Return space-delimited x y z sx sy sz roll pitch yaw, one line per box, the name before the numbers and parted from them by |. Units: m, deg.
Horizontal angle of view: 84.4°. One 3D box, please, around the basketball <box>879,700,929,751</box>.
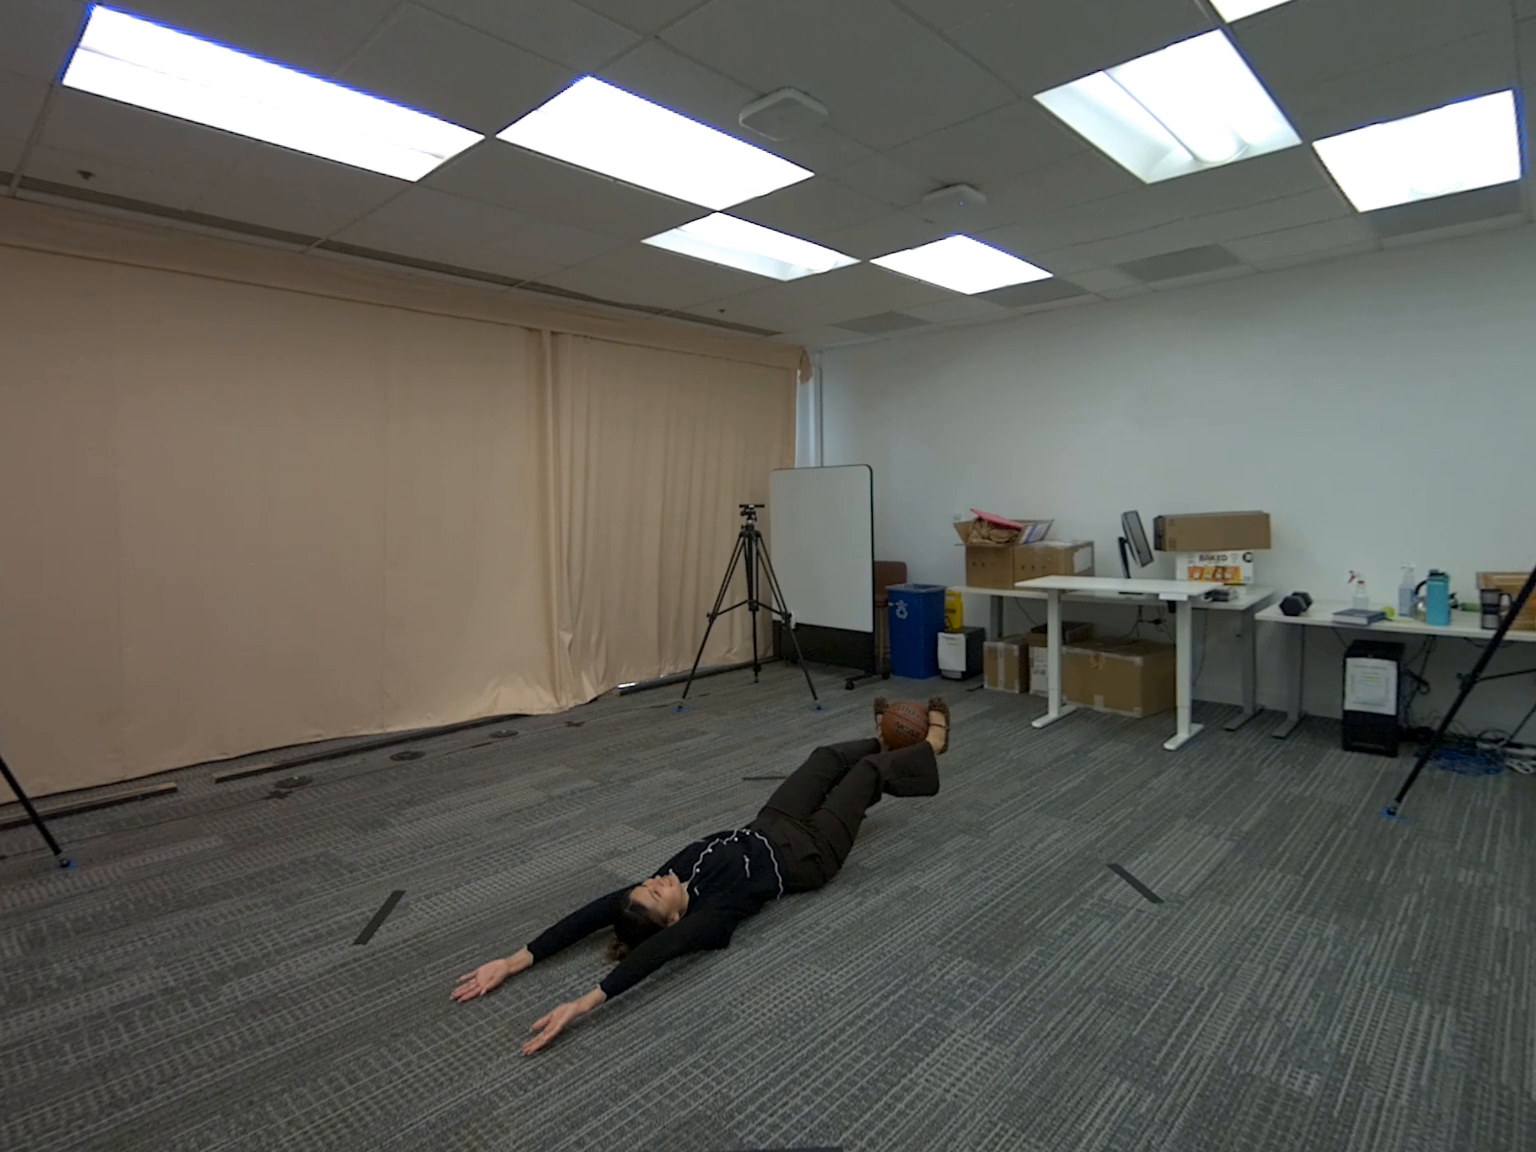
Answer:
basketball | 0.623 0.666 3.713 0.236 0.235 0.237 -1 4 -2
